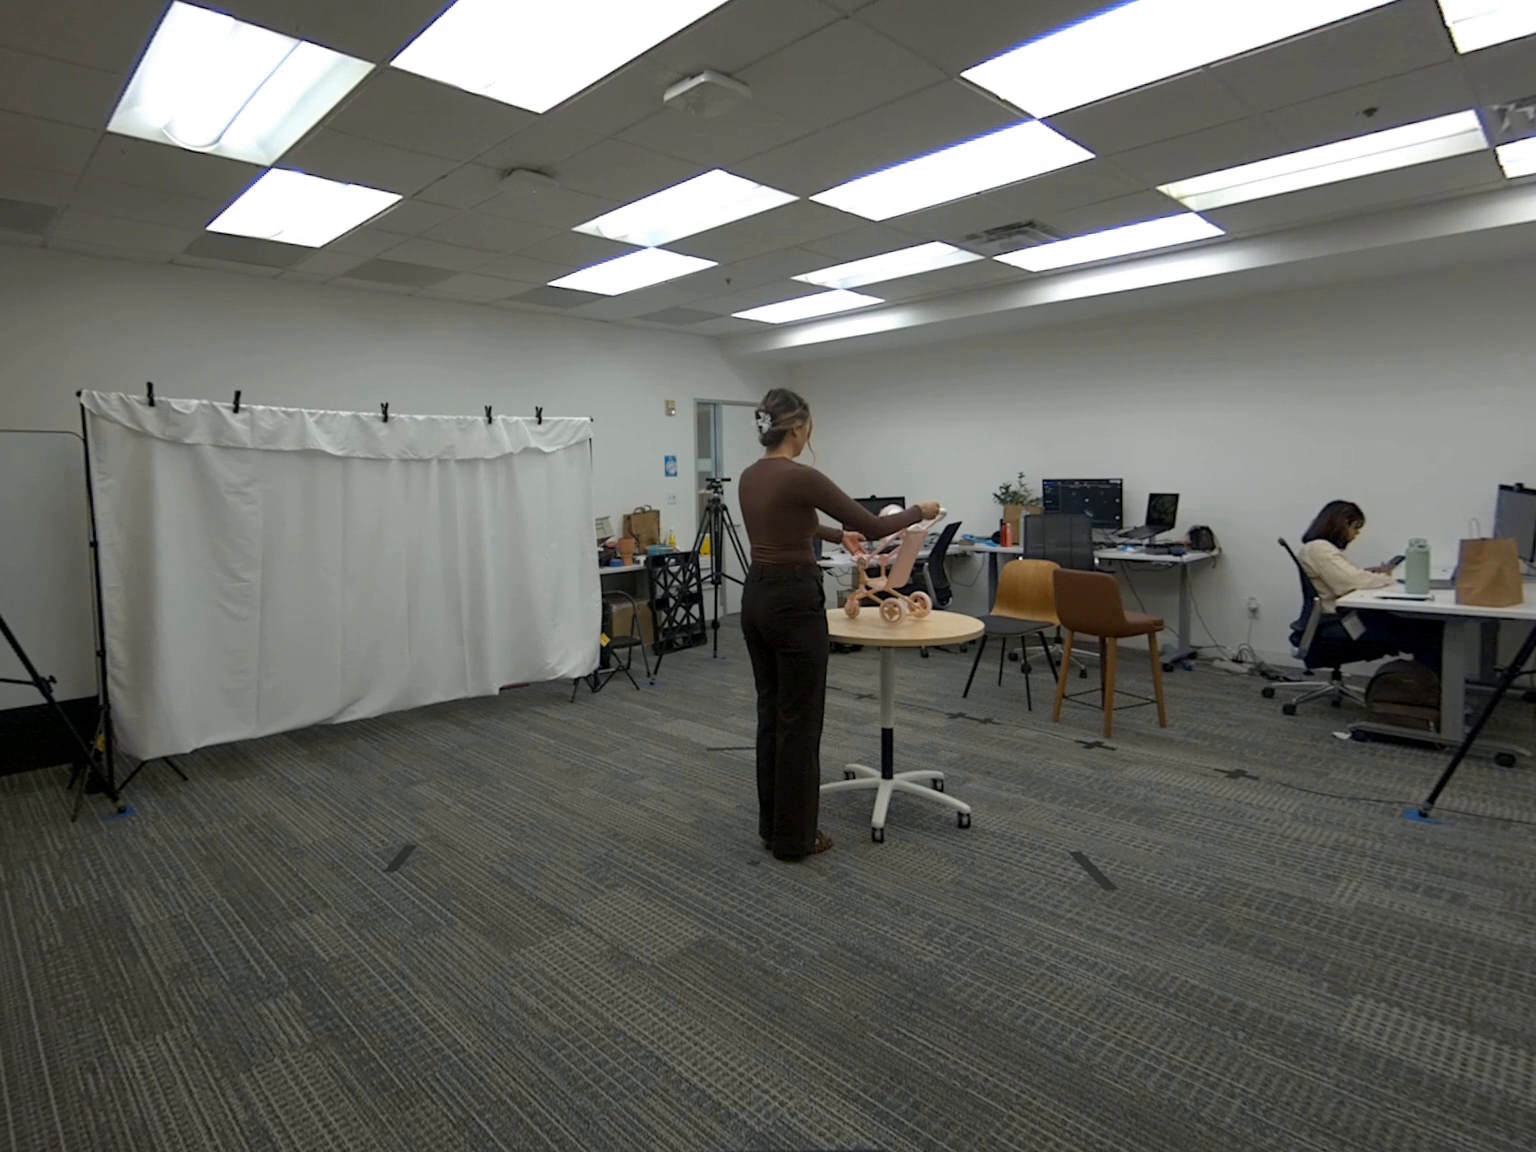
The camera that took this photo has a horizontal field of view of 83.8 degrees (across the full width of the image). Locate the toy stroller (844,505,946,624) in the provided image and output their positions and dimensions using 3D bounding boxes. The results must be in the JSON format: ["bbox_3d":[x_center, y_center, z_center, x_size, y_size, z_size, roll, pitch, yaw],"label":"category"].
[{"bbox_3d":[0.501,-0.044,3.498,0.353,0.531,0.274,17,14,40],"label":"toy stroller"}]
